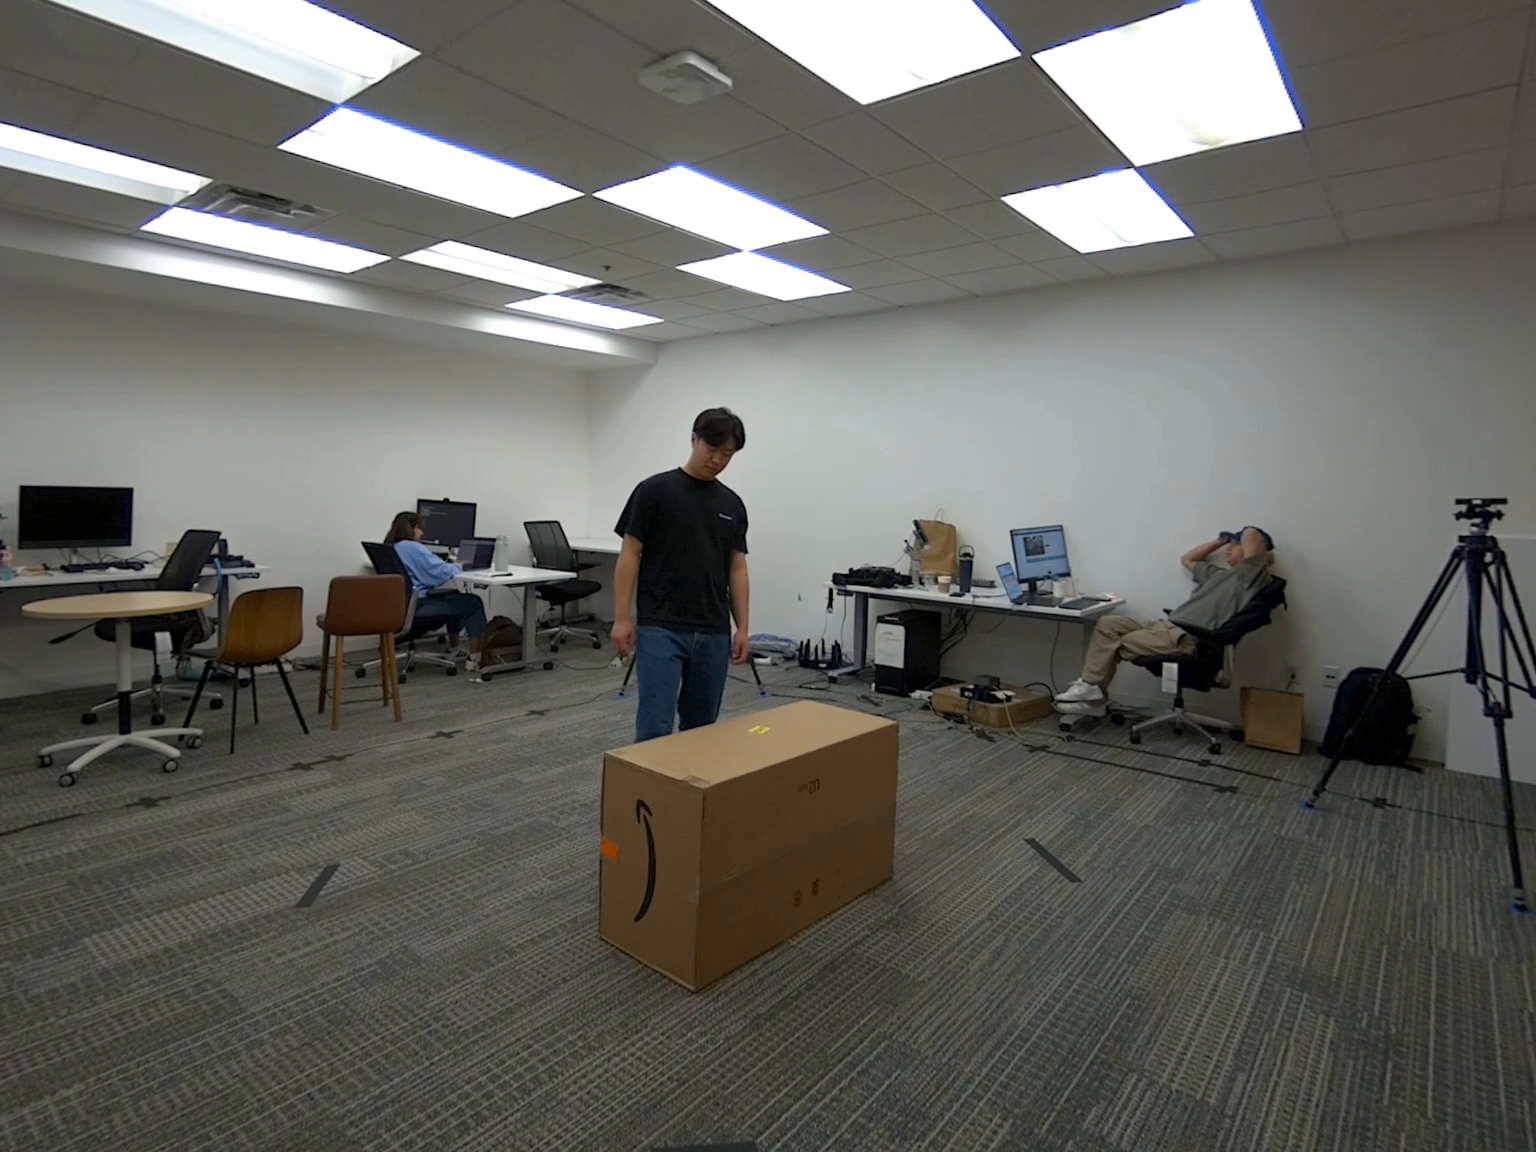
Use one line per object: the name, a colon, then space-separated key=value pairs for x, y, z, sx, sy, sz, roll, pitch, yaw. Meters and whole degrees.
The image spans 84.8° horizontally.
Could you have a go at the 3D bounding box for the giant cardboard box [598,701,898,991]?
giant cardboard box: x=-0.032 y=0.814 z=2.832 sx=0.462 sy=0.582 sz=0.996 roll=3 pitch=4 yaw=41
